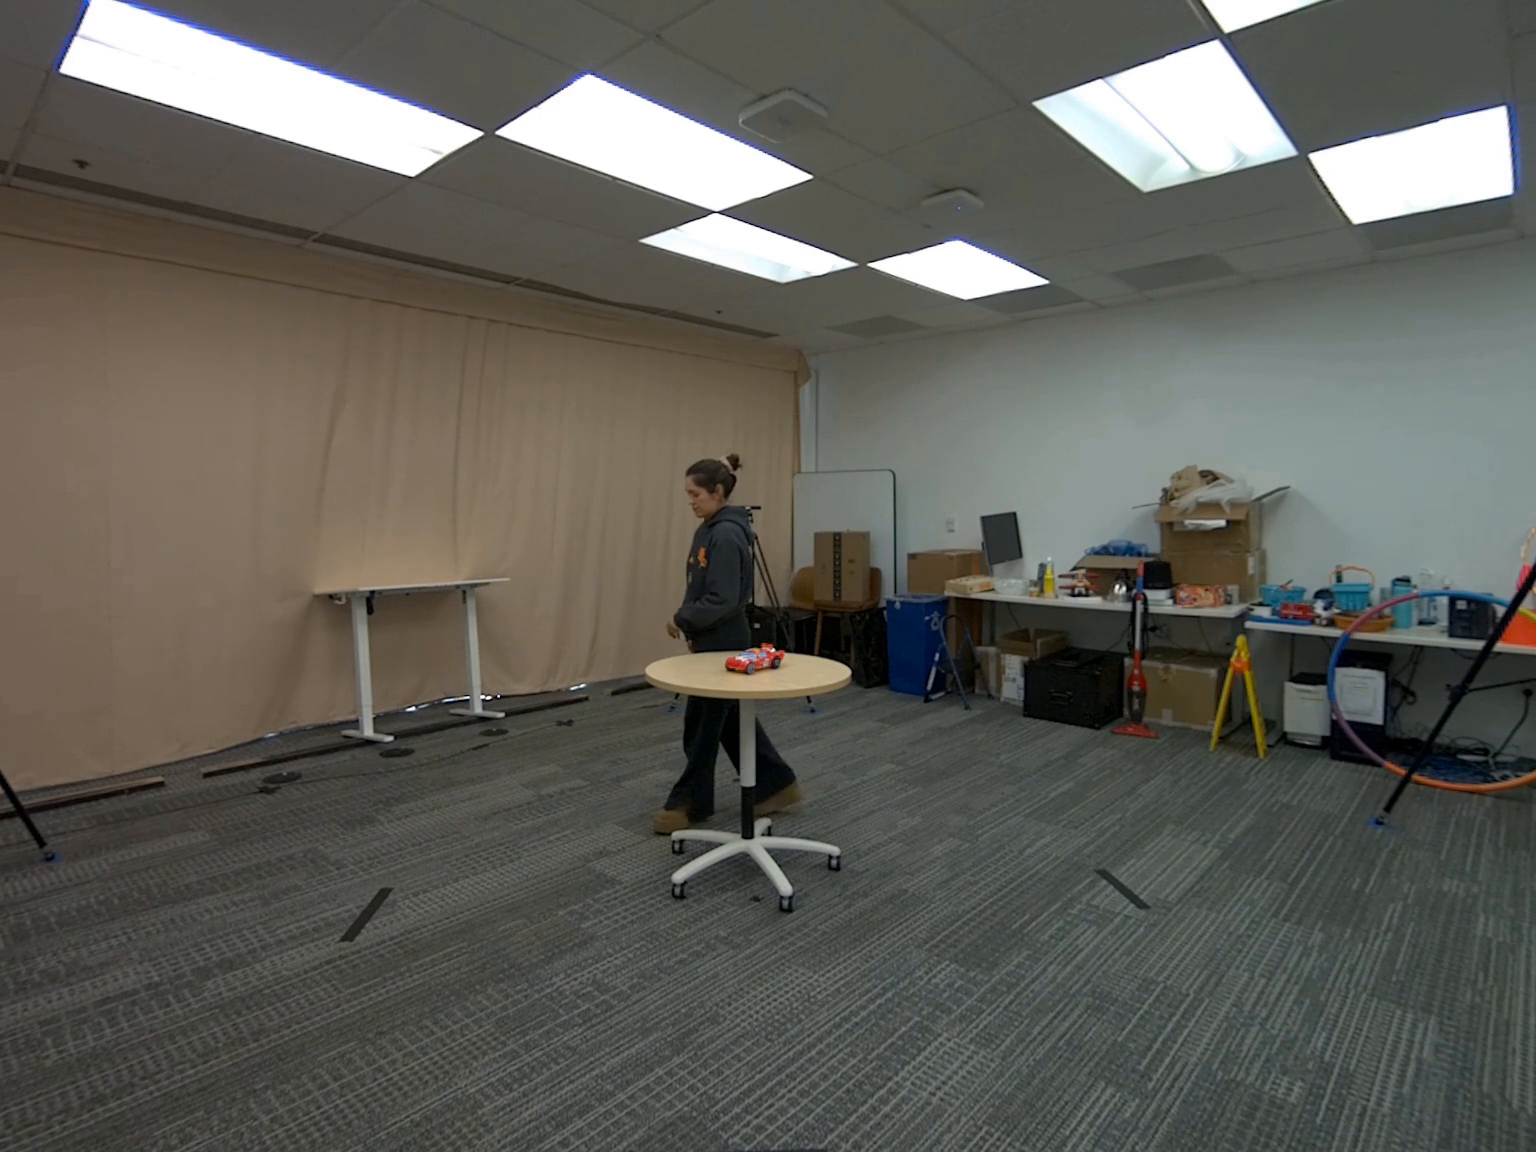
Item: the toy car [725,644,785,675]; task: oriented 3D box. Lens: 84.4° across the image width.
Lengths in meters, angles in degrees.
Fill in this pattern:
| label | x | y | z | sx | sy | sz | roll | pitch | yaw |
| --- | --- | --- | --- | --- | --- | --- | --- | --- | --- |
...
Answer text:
| label | x | y | z | sx | sy | sz | roll | pitch | yaw |
| --- | --- | --- | --- | --- | --- | --- | --- | --- | --- |
| toy car | -0.021 | 0.314 | 3.142 | 0.134 | 0.082 | 0.249 | 2 | 17 | 40 |
